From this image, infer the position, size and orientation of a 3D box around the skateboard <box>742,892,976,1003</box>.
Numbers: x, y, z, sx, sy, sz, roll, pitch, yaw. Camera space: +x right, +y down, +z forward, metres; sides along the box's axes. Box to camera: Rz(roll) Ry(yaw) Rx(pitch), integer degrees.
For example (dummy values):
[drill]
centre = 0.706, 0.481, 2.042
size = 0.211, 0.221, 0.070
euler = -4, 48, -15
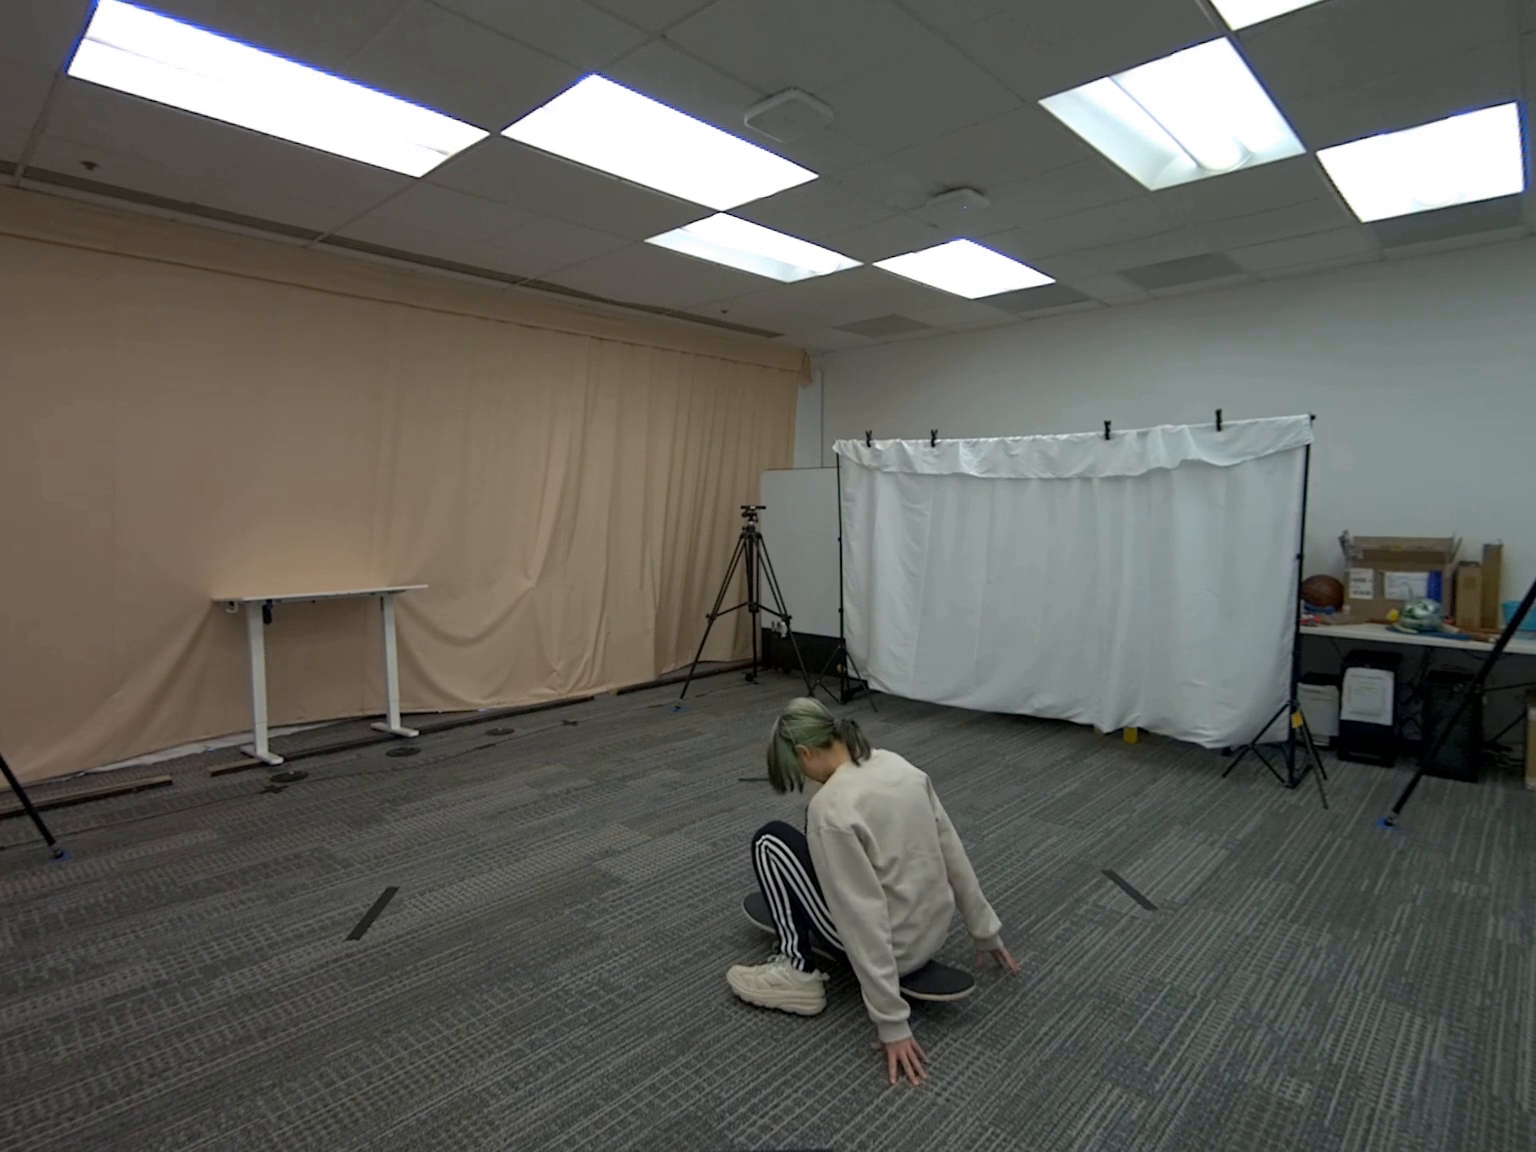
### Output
[skateboard]
centre = 0.240, 1.134, 2.506
size = 0.812, 0.110, 0.187
euler = 5, 5, 42
